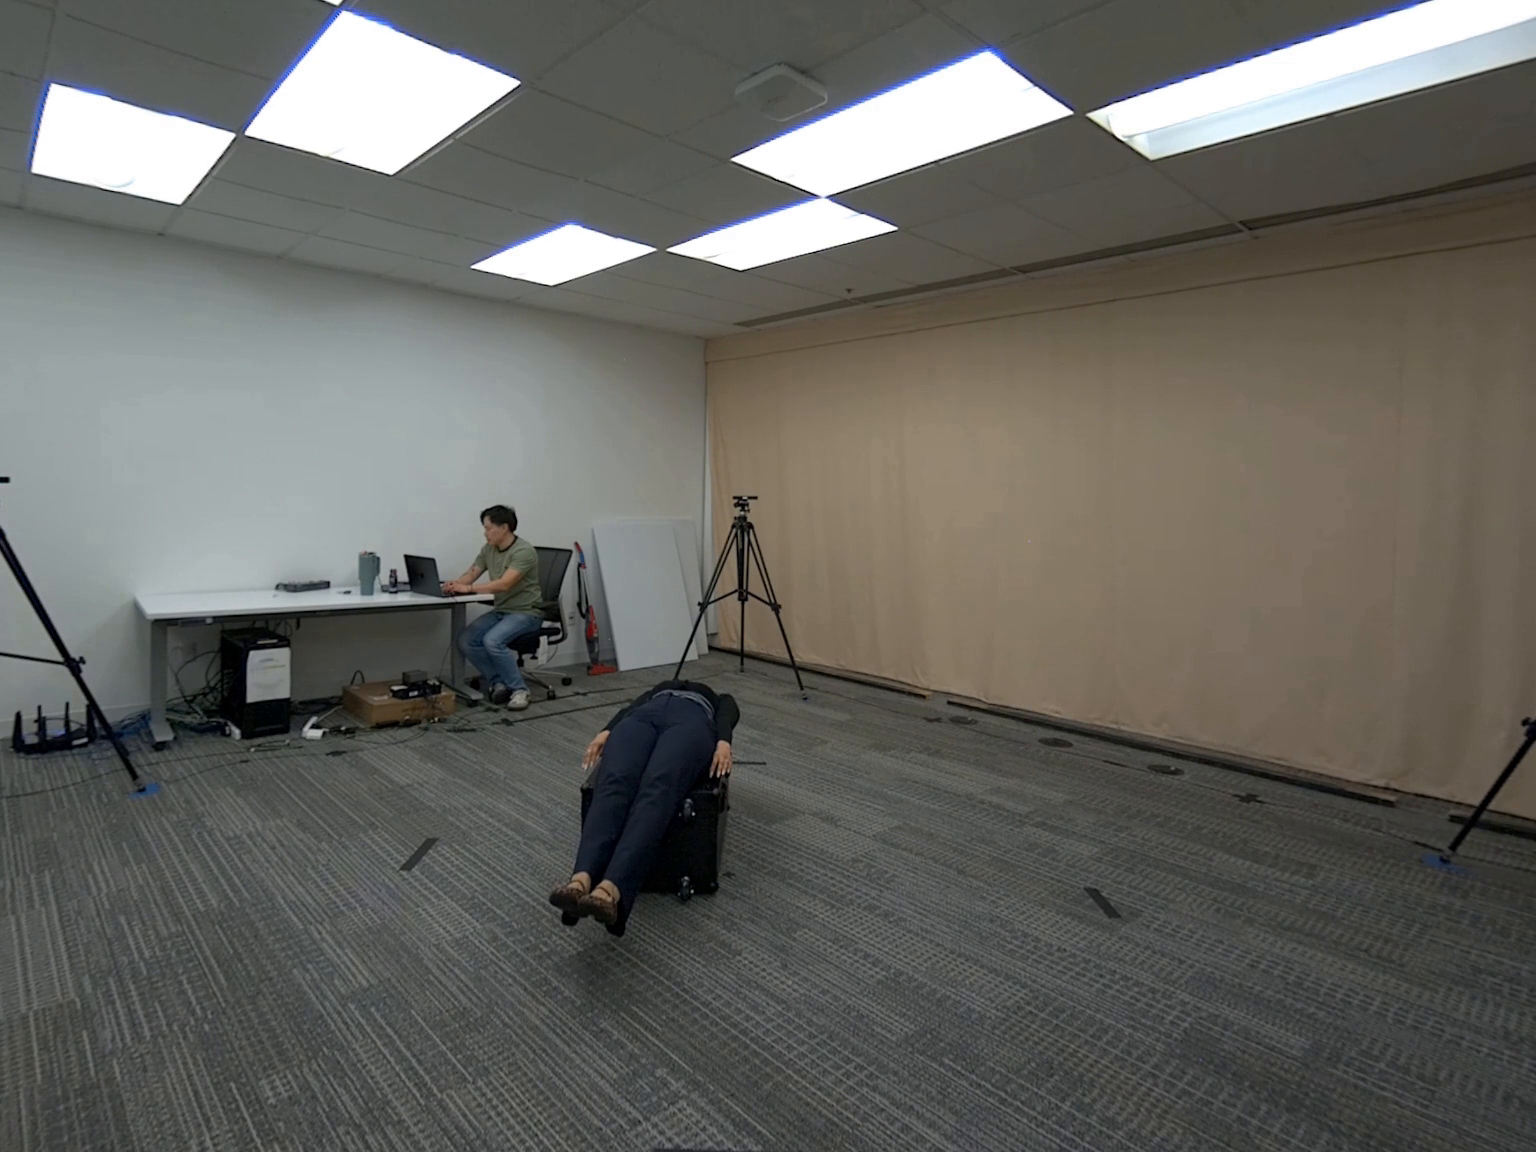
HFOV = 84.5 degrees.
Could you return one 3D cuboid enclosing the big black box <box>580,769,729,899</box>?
[{"bbox_3d":[-0.419,0.886,3.272,0.522,0.395,0.863,2,4,0],"label":"big black box"}]
